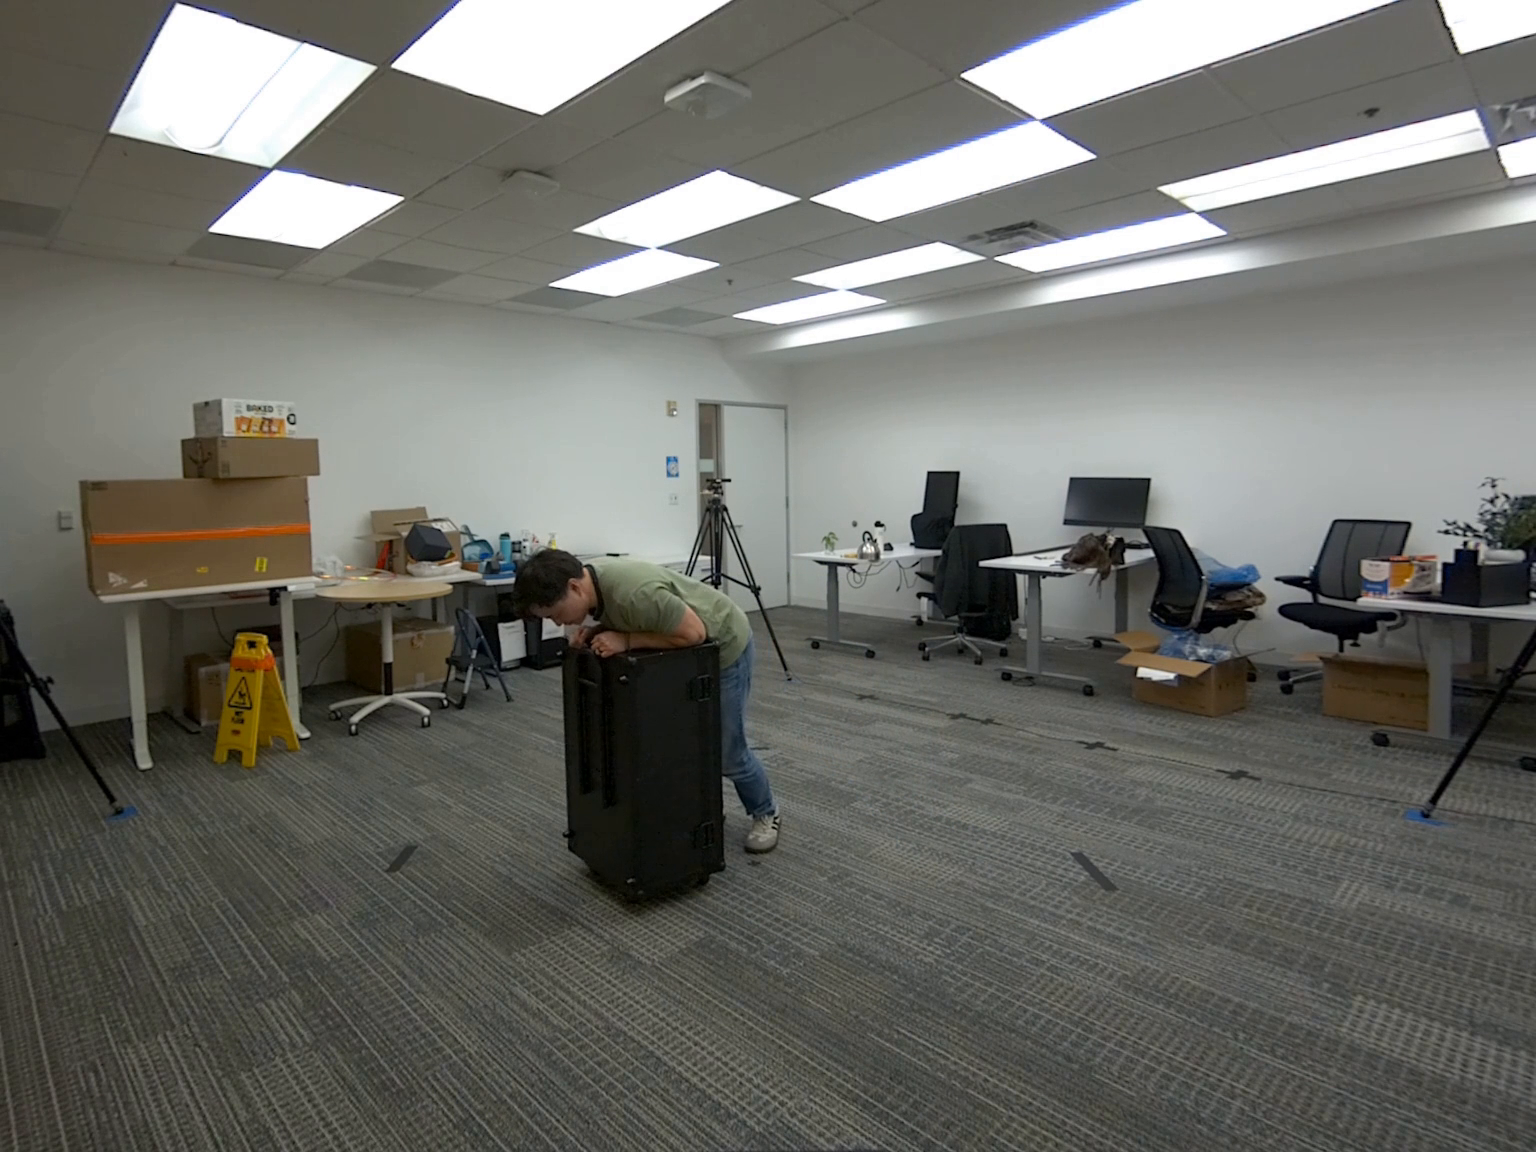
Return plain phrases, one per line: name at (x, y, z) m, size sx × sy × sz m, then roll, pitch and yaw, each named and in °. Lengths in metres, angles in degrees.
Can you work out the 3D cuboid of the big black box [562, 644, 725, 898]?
big black box at (-0.446, 0.648, 2.952) m, size 0.386 × 0.857 × 0.537 m, roll -6°, pitch 7°, yaw -37°
